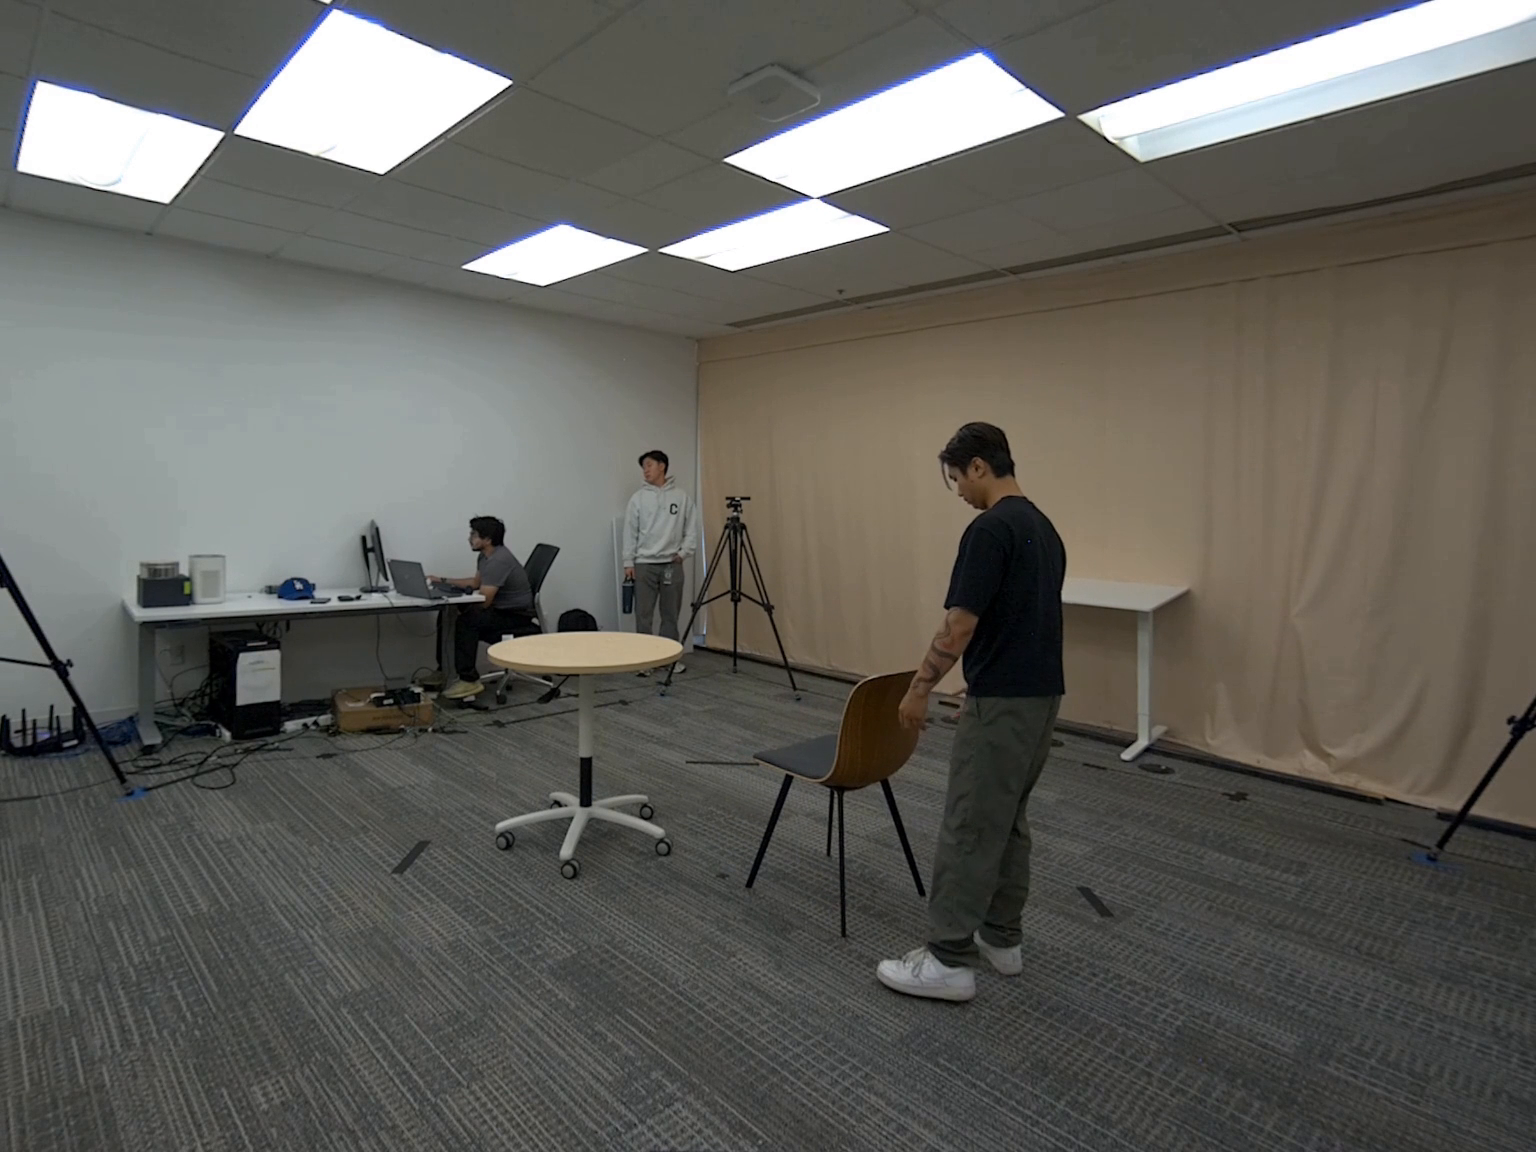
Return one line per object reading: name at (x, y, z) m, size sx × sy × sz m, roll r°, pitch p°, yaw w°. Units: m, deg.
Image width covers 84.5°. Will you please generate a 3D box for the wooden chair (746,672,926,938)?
wooden chair at (0.235, 0.702, 2.970) m, size 0.467 × 0.873 × 0.537 m, roll -2°, pitch 9°, yaw -44°
